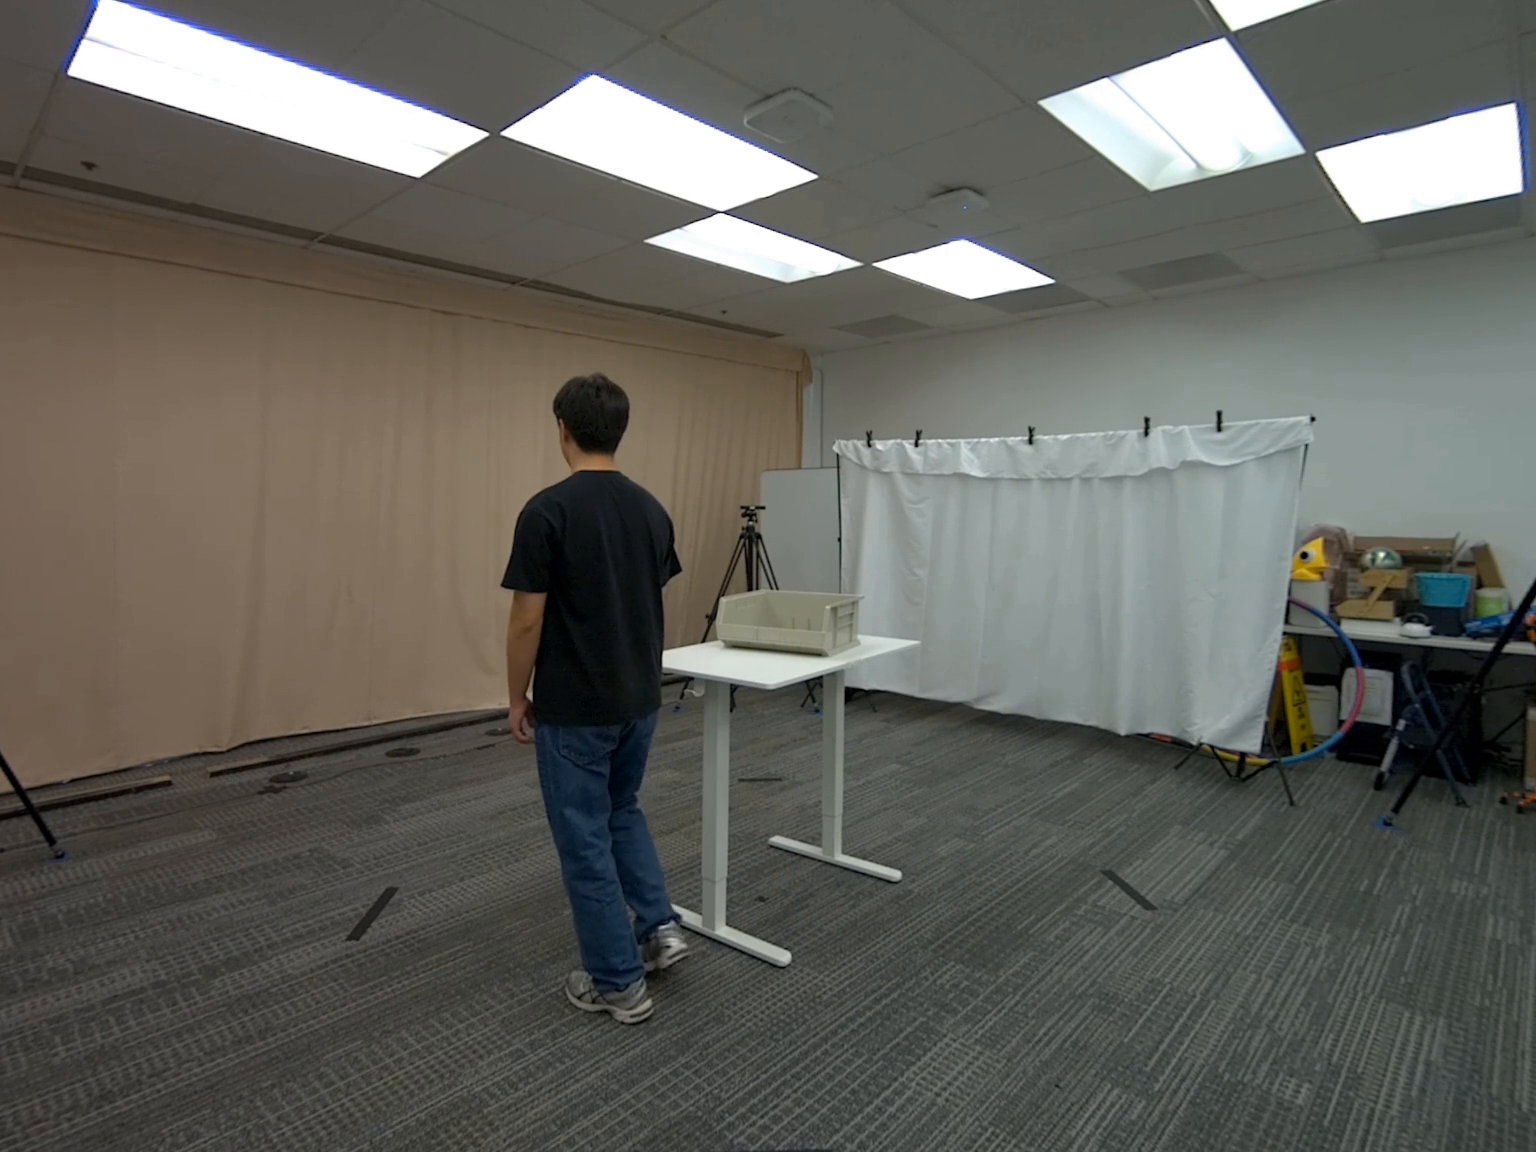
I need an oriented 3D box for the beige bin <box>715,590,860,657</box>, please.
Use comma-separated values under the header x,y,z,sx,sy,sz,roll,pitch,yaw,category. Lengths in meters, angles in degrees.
x,y,z,sx,sy,sz,roll,pitch,yaw,category
0.089,0.170,3.050,0.434,0.189,0.368,2,4,27,beige bin
